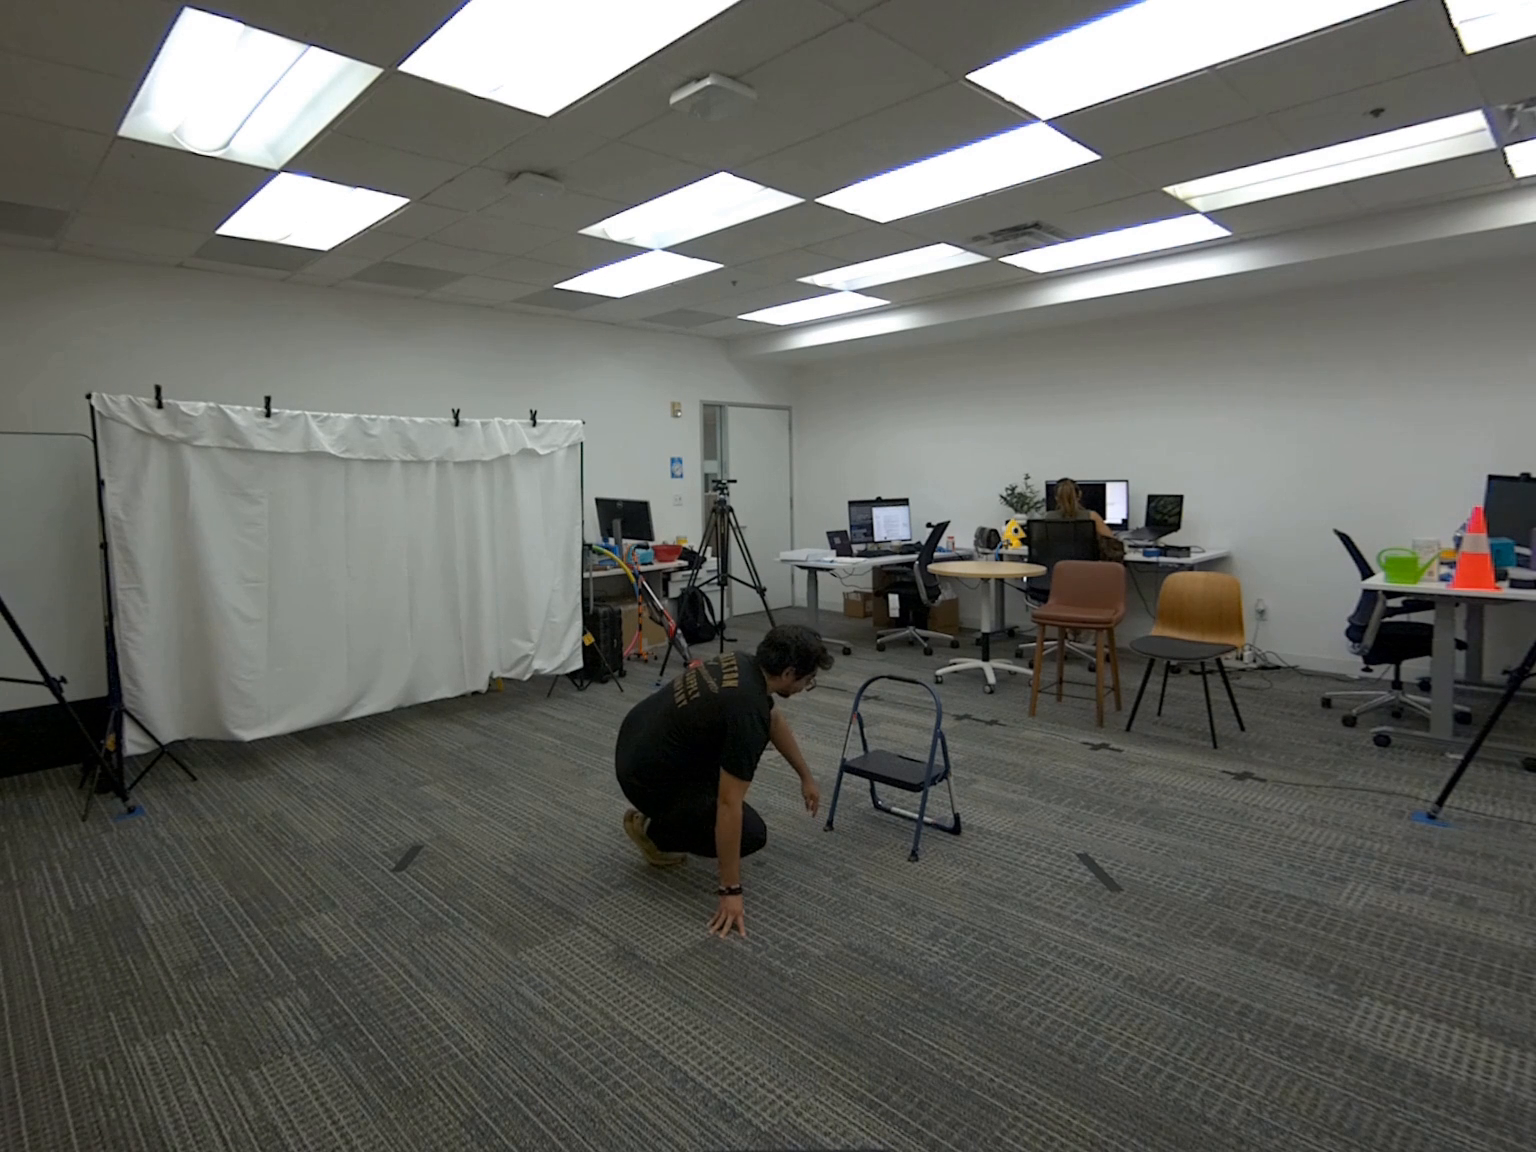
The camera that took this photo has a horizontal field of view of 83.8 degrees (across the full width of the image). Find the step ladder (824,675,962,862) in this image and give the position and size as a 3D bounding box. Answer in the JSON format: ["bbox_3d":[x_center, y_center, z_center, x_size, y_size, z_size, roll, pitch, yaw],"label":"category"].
[{"bbox_3d":[0.491,0.709,3.353,0.444,0.604,0.340,4,6,44],"label":"step ladder"}]
